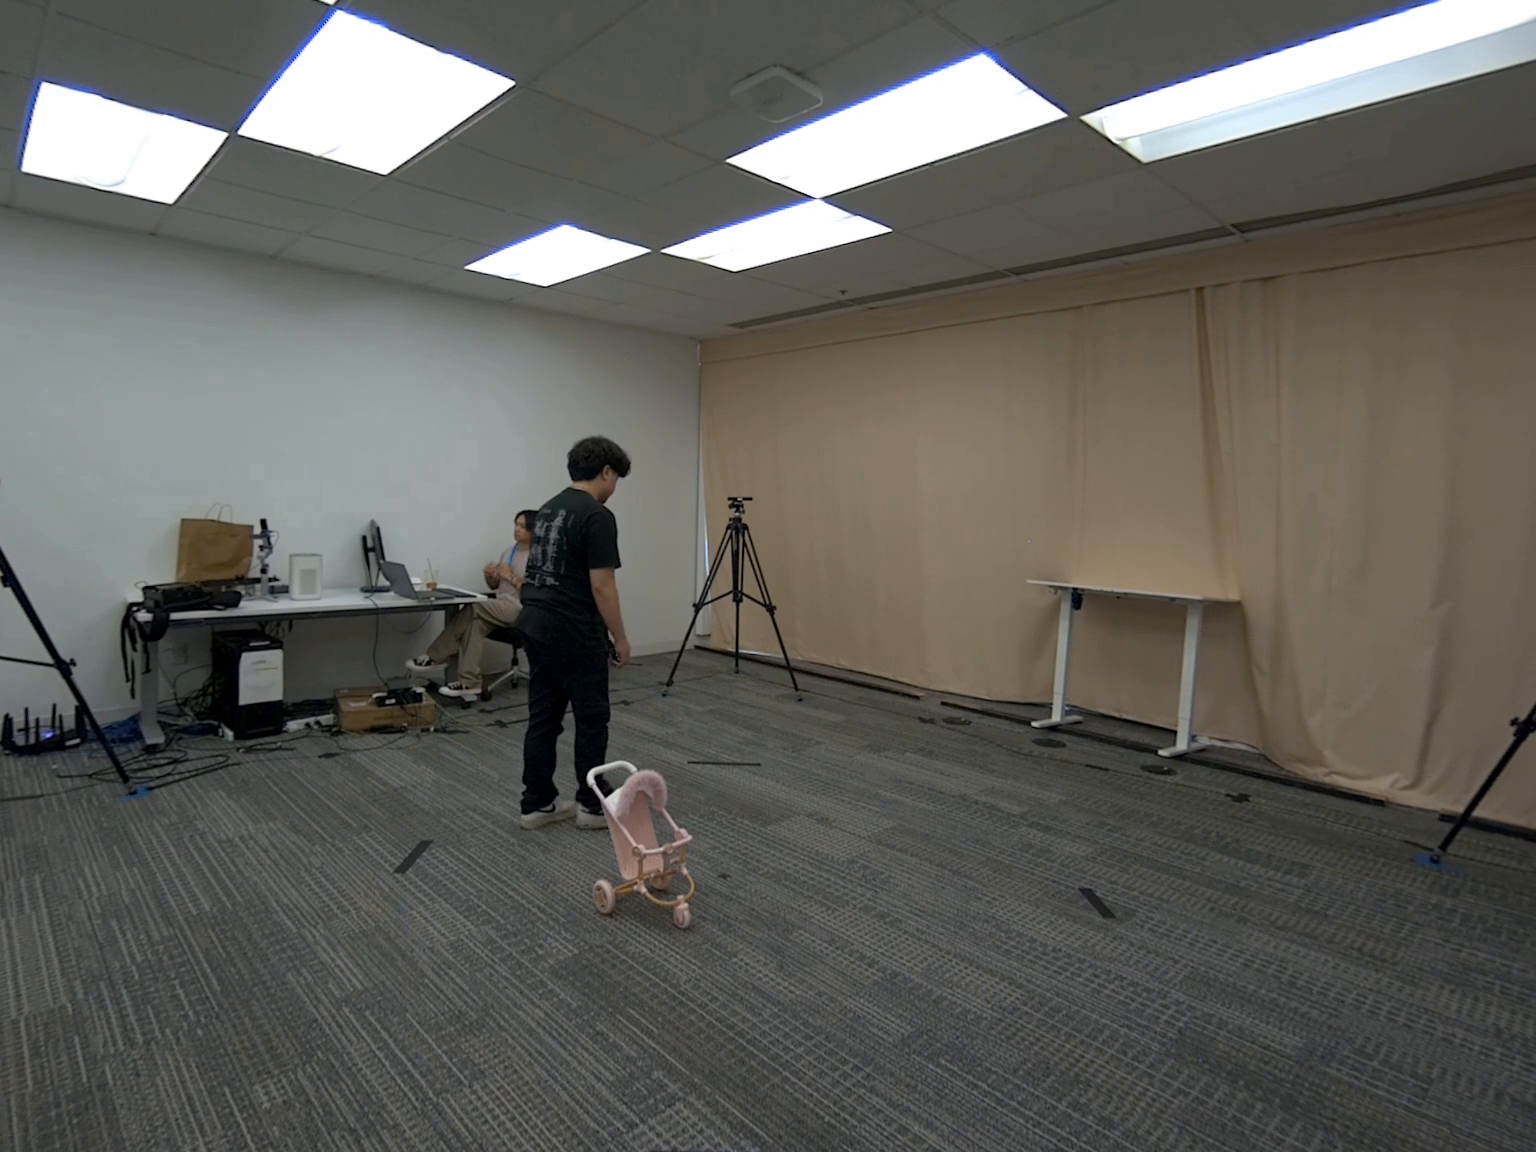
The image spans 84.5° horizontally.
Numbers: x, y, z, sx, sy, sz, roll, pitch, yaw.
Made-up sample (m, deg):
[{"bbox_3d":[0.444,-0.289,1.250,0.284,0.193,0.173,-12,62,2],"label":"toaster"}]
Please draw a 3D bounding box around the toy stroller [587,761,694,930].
[{"bbox_3d":[-0.420,0.899,2.841,0.275,0.539,0.347,-2,-10,-44],"label":"toy stroller"}]
